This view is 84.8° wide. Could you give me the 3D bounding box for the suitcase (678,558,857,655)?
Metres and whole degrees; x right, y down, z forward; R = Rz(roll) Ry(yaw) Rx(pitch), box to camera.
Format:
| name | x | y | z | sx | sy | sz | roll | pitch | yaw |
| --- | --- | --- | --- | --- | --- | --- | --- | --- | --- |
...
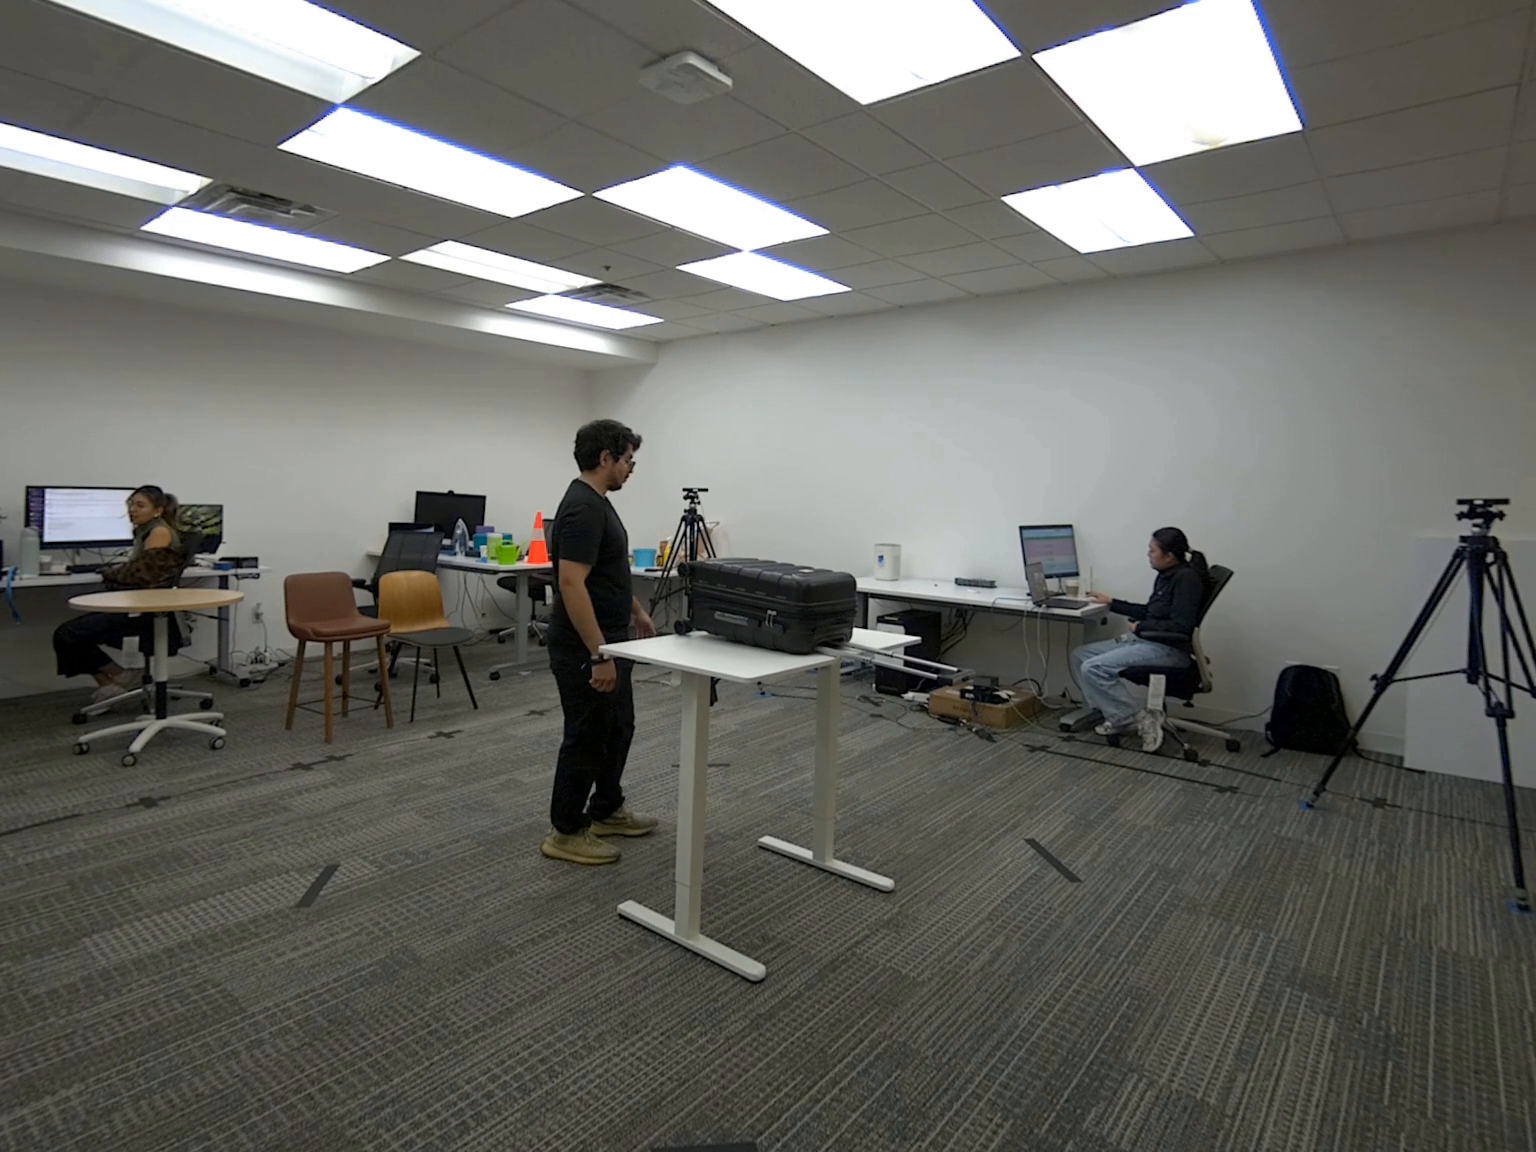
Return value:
| name | x | y | z | sx | sy | sz | roll | pitch | yaw |
| --- | --- | --- | --- | --- | --- | --- | --- | --- | --- |
| suitcase | 0.155 | 0.114 | 2.722 | 1.013 | 0.256 | 0.372 | 8 | 6 | 39 |
